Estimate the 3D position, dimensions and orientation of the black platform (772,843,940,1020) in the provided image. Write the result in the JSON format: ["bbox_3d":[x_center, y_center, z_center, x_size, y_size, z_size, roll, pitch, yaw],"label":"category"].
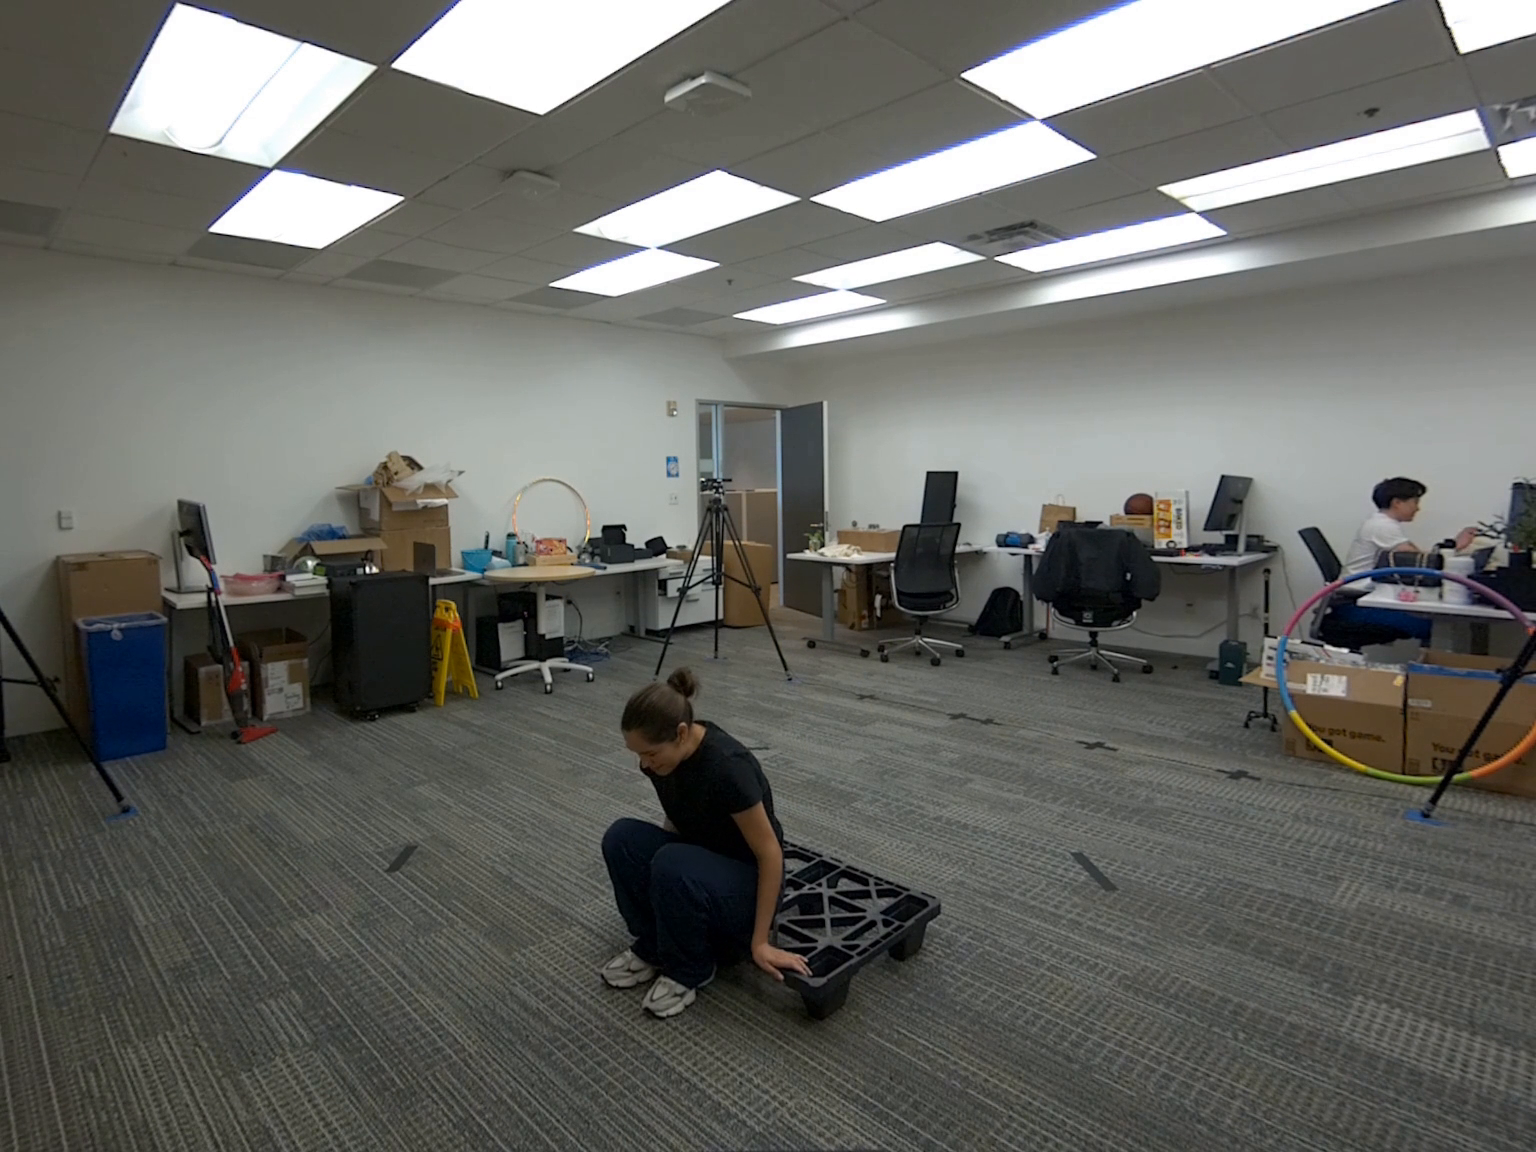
[{"bbox_3d":[0.032,1.029,2.644,0.831,0.143,0.589,6,8,43],"label":"black platform"}]
